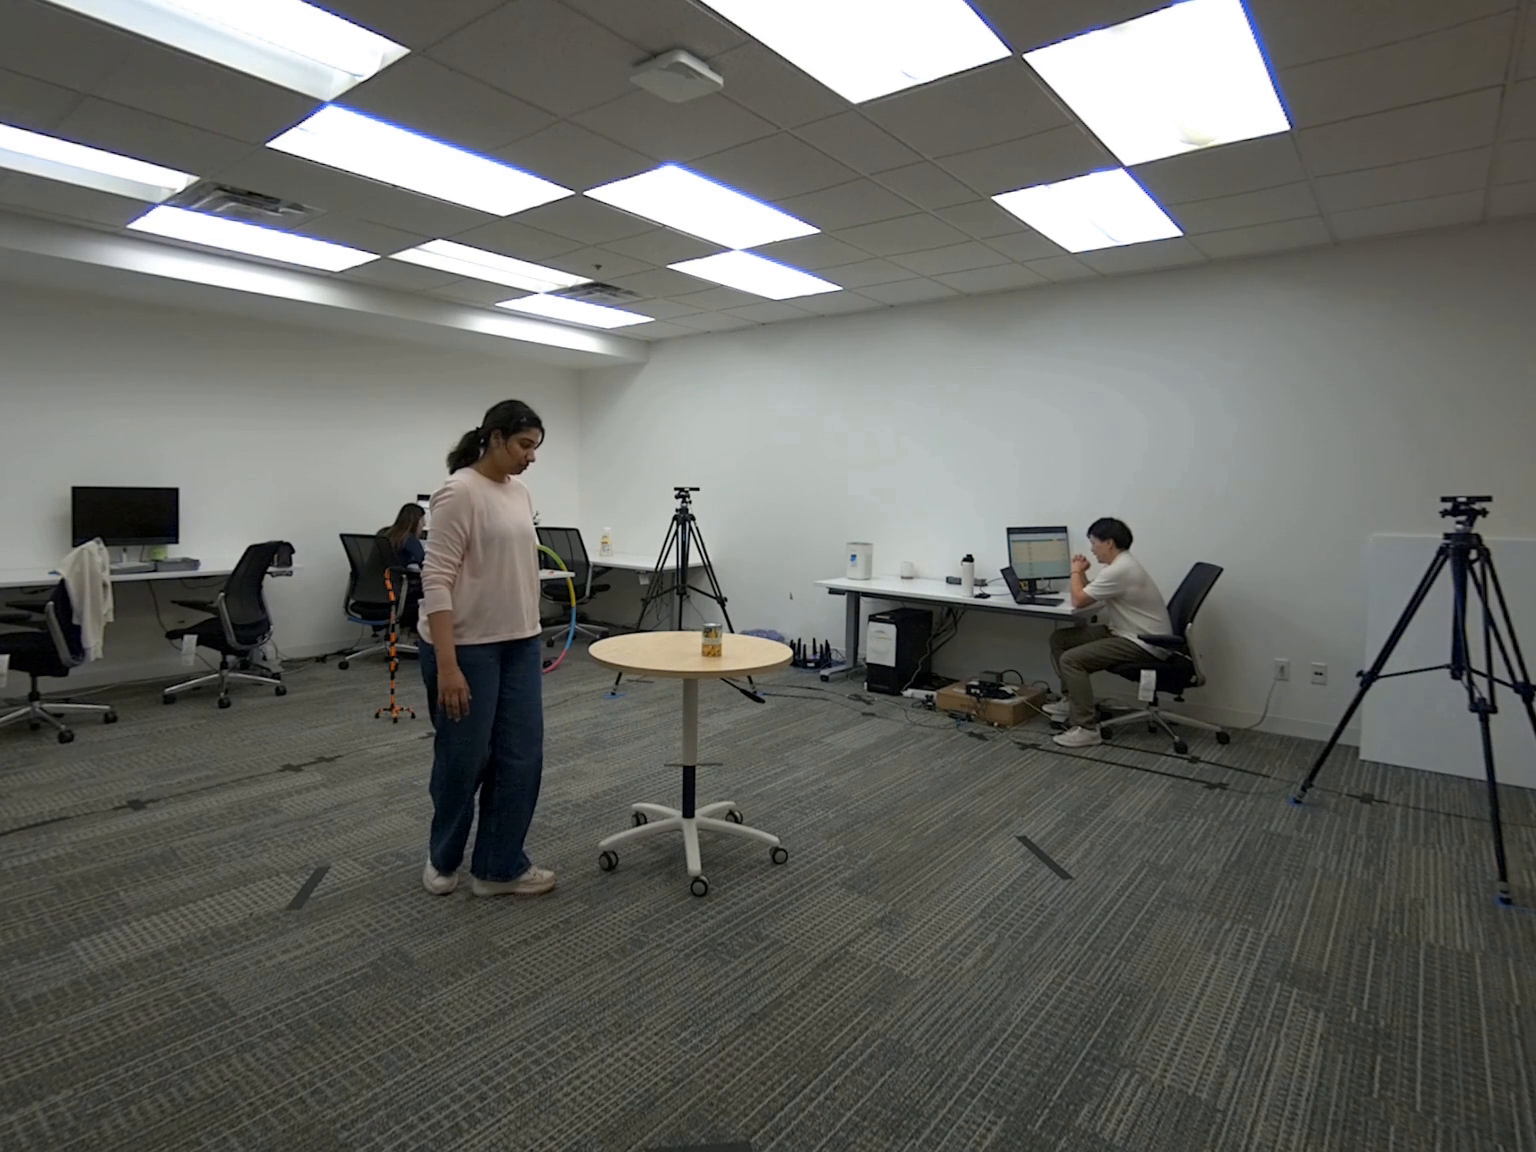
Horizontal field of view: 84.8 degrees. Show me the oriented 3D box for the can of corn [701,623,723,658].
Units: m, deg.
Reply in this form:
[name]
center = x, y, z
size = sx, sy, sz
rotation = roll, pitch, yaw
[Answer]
[can of corn]
center = -0.215, 0.233, 3.084
size = 0.074, 0.111, 0.074
rotation = 1, 2, -2
